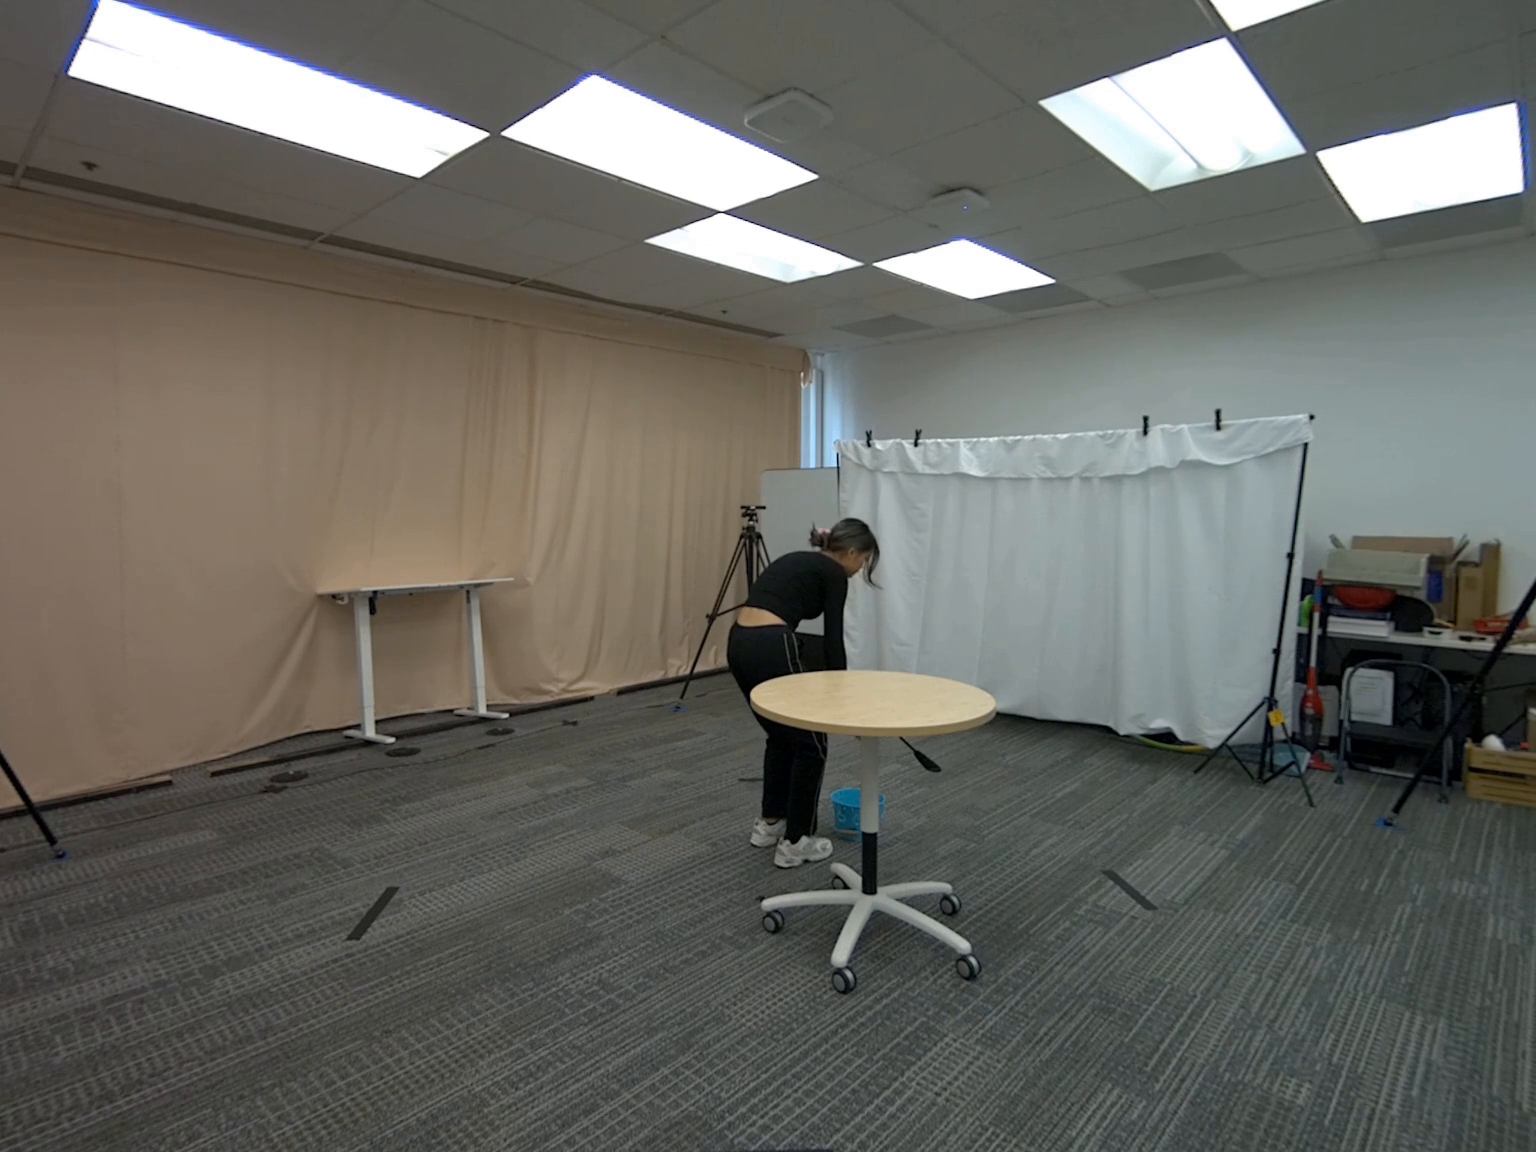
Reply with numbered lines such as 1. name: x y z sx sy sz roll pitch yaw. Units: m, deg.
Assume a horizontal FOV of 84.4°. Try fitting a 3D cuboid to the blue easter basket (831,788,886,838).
1. blue easter basket: 0.376 1.017 3.588 0.243 0.155 0.244 0 4 -2
